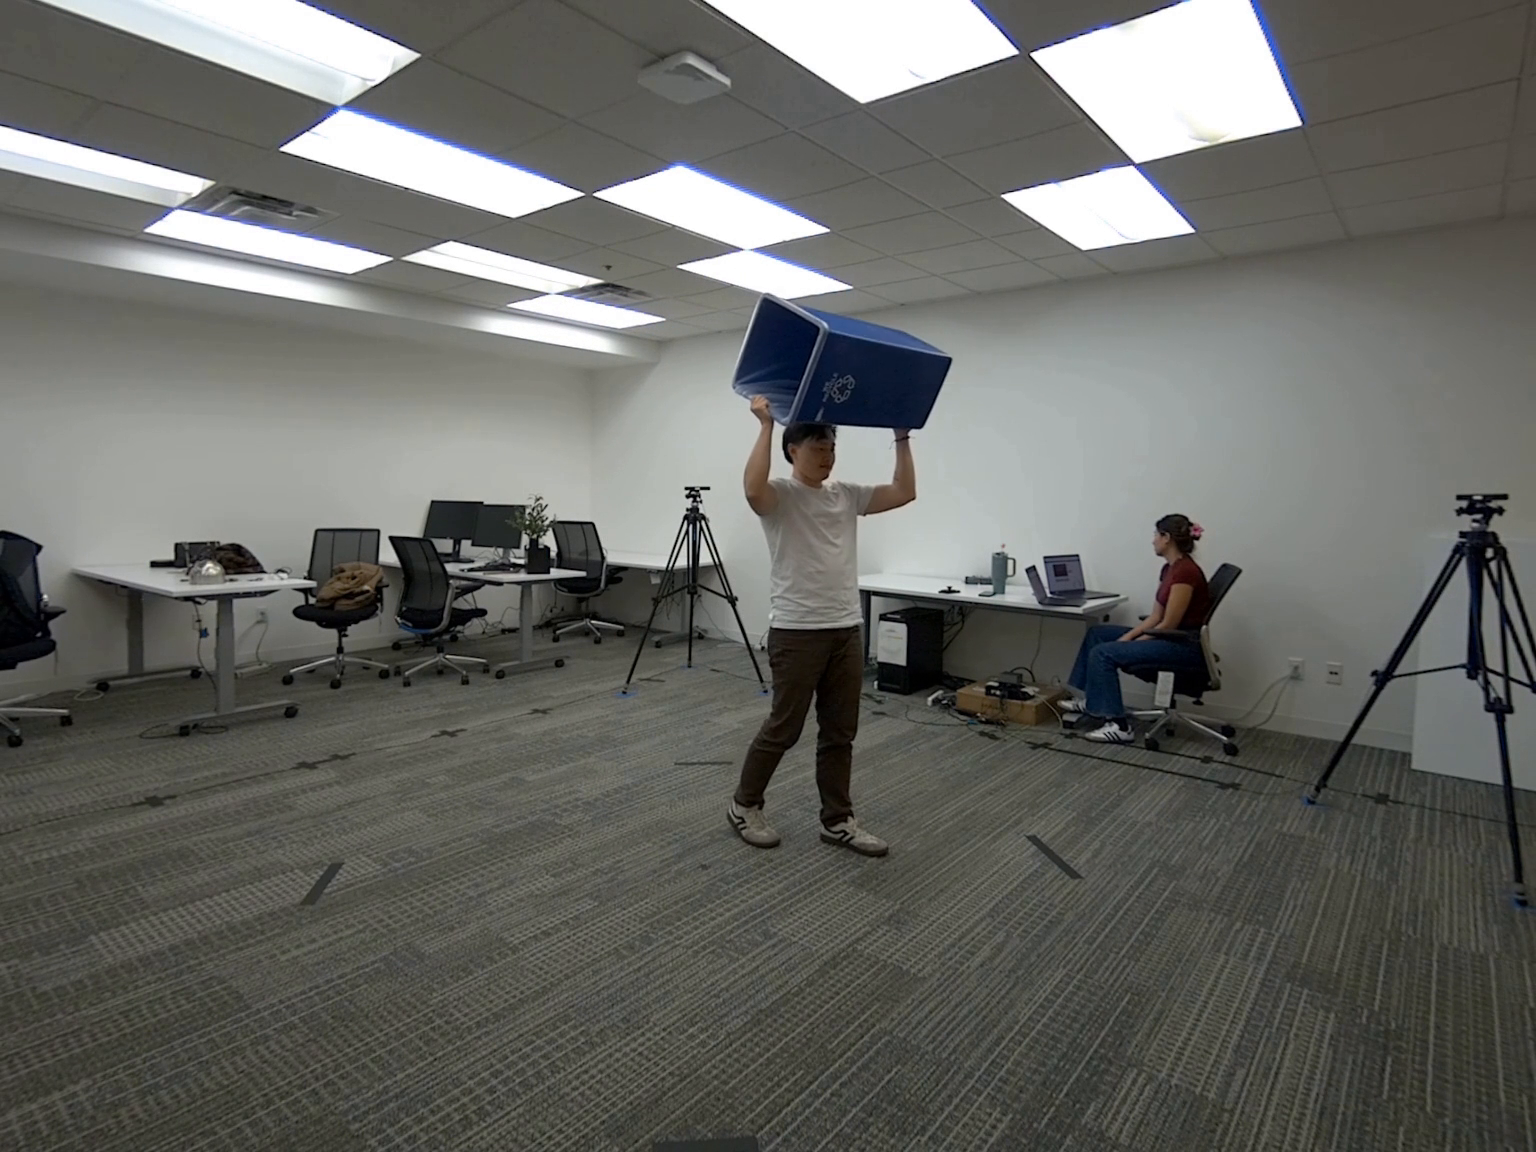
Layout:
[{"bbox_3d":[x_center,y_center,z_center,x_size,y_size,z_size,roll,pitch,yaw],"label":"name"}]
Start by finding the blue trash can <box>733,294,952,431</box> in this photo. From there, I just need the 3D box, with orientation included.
[{"bbox_3d":[0.273,-0.752,3.110,0.692,0.373,0.390,-2,33,-38],"label":"blue trash can"}]
